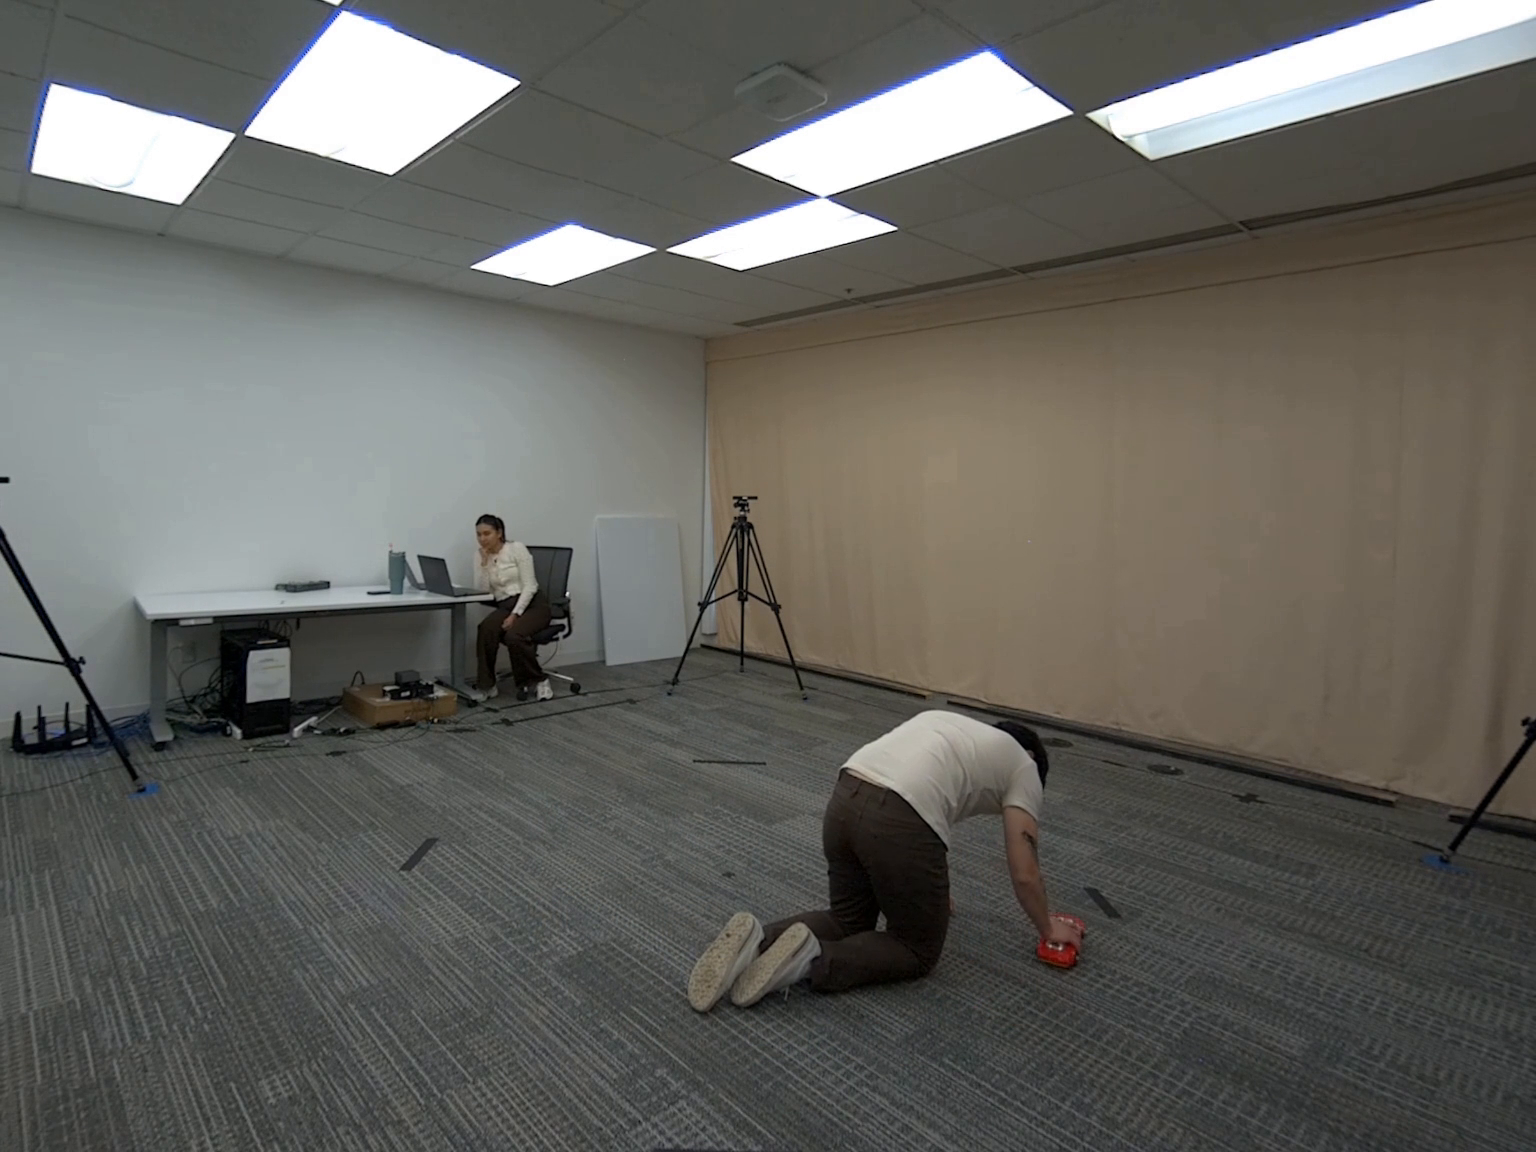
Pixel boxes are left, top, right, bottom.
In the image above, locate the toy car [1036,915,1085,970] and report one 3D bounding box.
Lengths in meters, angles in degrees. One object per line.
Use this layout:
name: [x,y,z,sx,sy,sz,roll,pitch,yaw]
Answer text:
toy car: [0.900,1.142,2.618,0.133,0.083,0.250,5,4,27]
